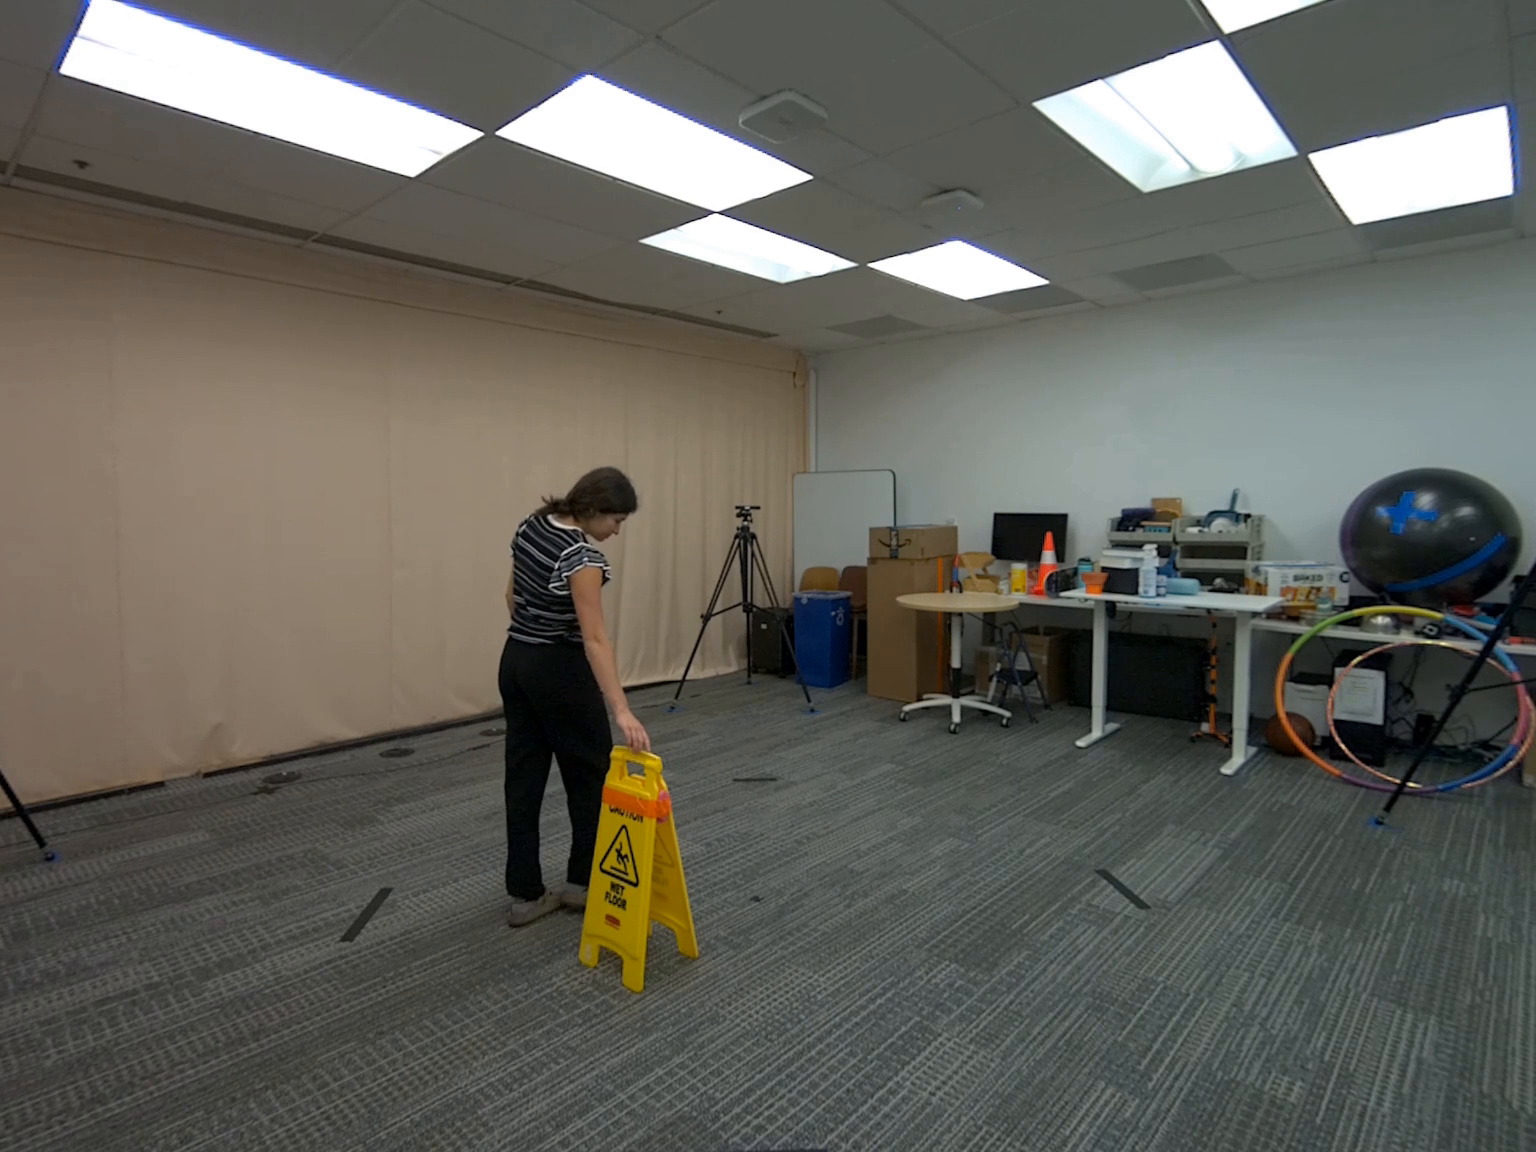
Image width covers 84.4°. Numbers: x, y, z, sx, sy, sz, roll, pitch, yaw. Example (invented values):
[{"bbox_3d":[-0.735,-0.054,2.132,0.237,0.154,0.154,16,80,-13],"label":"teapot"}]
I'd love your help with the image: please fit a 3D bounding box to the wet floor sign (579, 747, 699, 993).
[{"bbox_3d":[-0.399,0.857,2.569,0.291,0.645,0.281,2,4,39],"label":"wet floor sign"}]
